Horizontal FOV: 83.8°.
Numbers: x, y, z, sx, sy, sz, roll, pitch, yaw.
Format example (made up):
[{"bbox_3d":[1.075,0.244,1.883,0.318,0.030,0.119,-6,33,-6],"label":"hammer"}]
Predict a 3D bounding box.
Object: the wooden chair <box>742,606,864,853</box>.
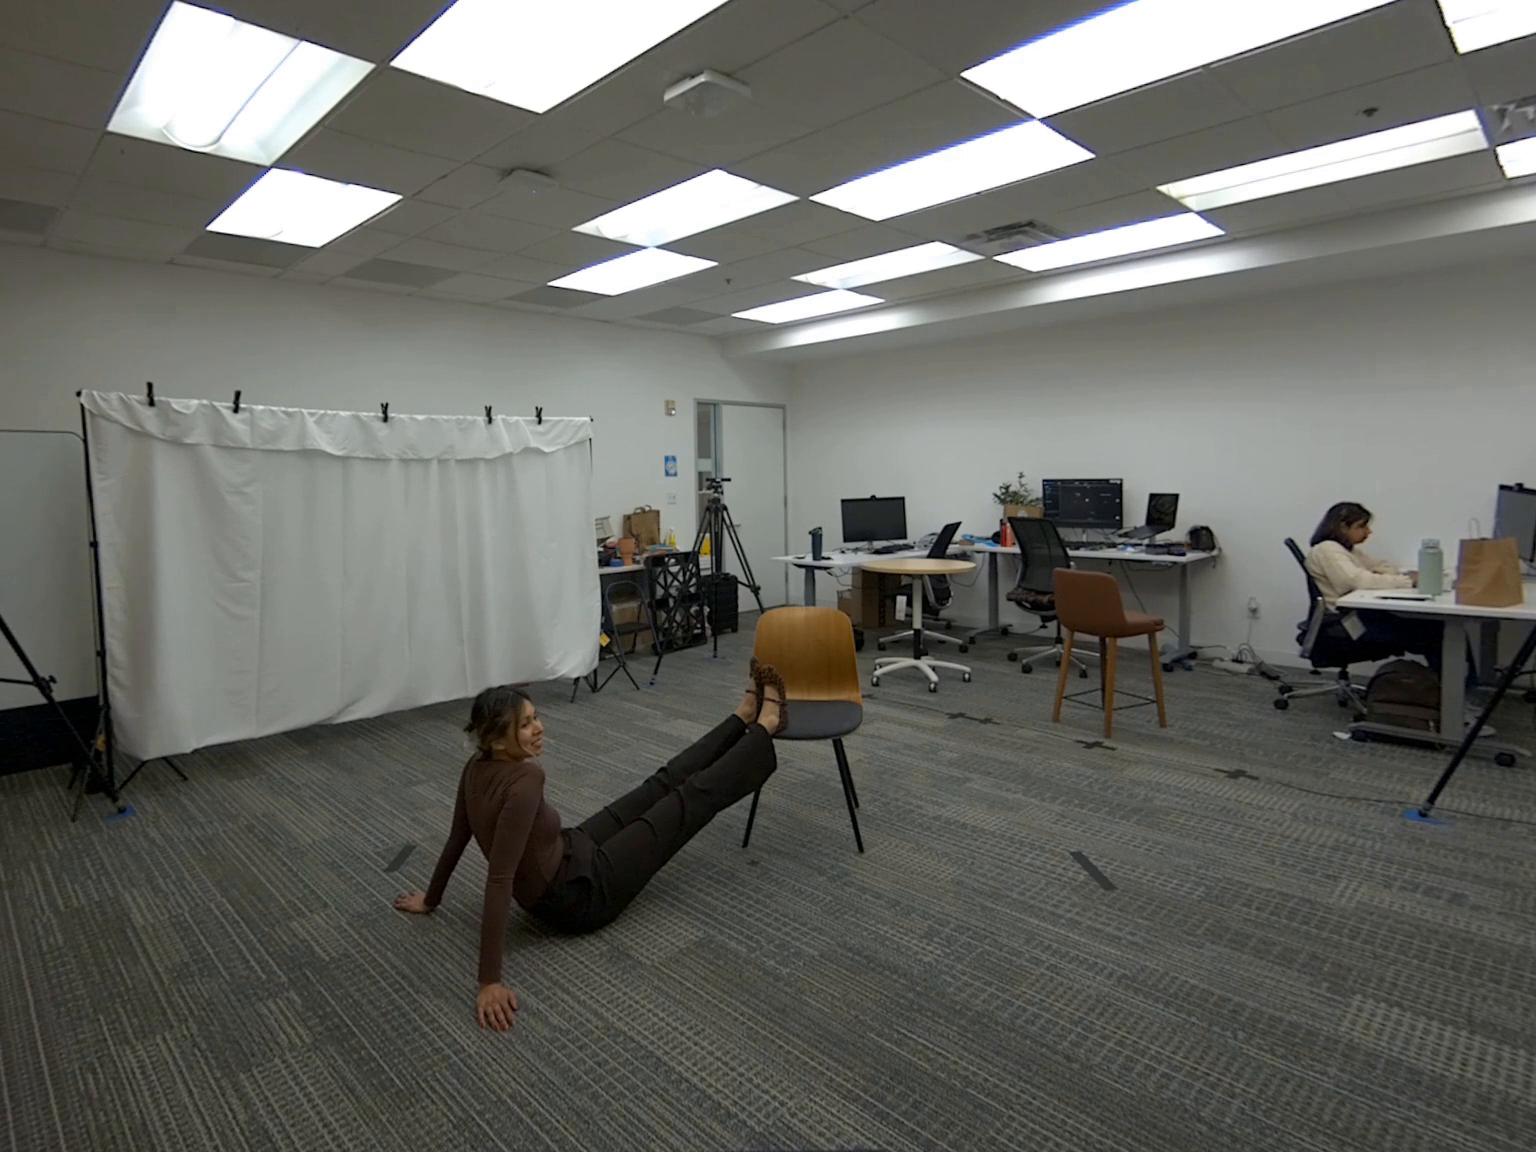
[{"bbox_3d":[0.141,0.580,3.389,0.481,0.877,0.519,0,0,6],"label":"wooden chair"}]
